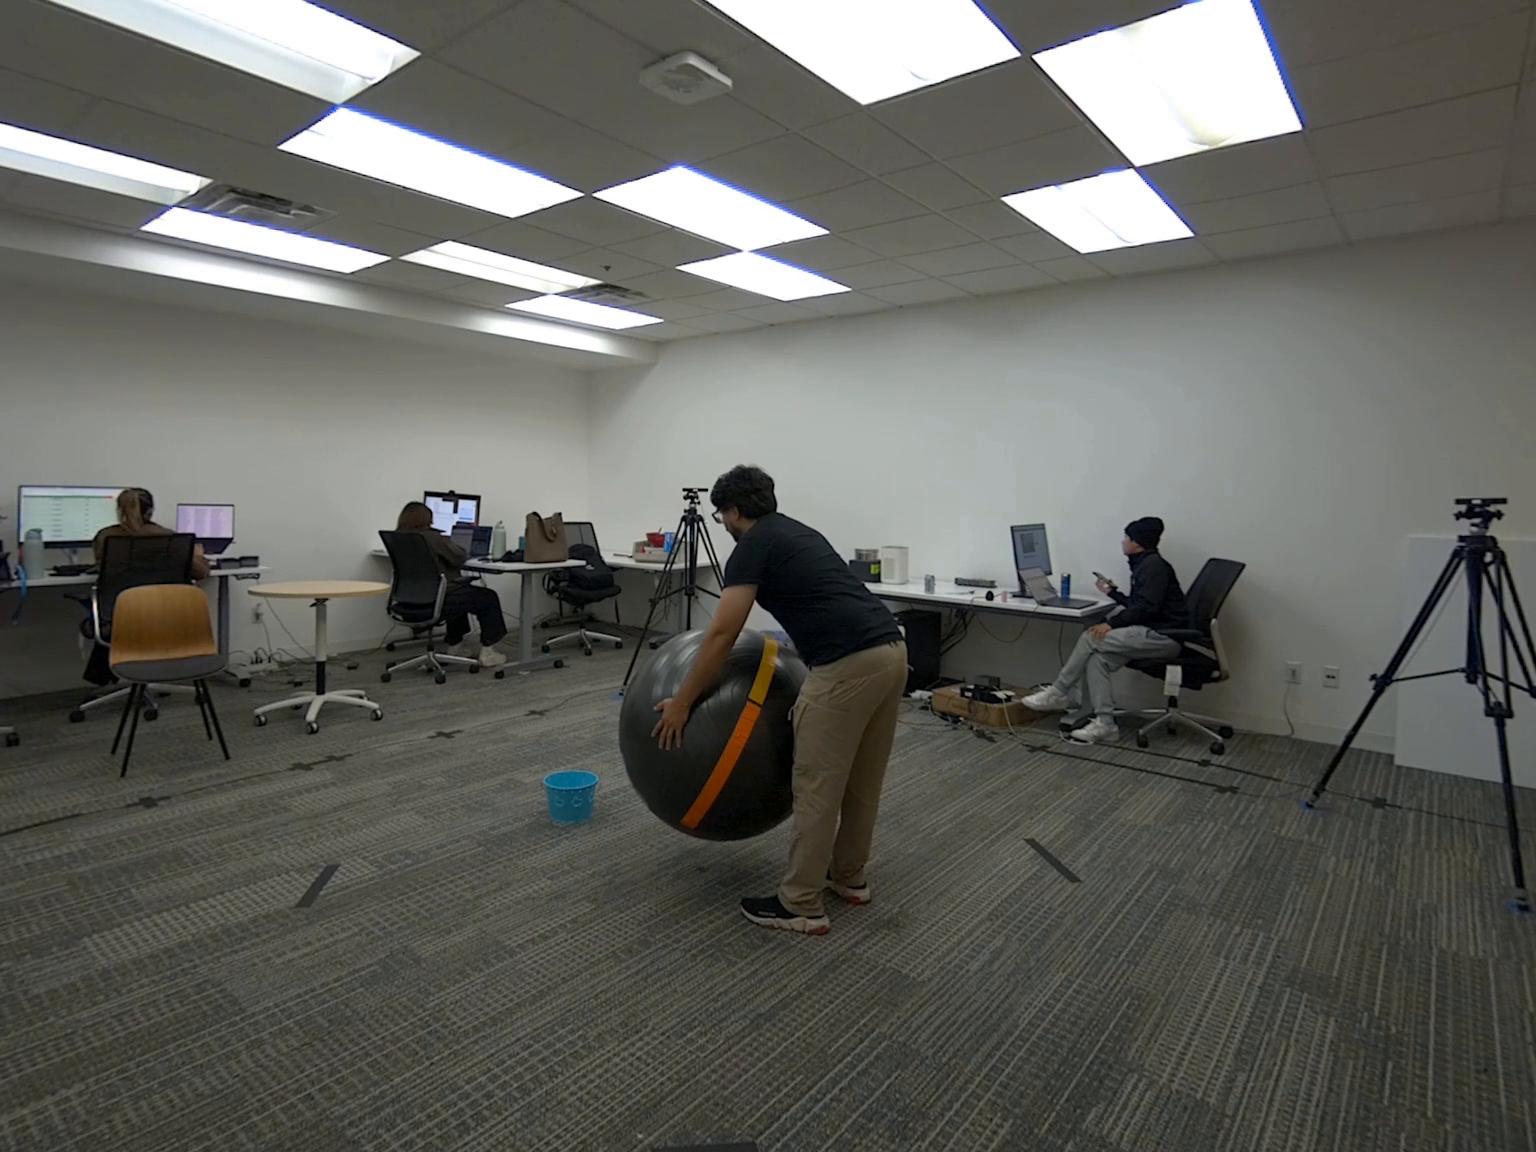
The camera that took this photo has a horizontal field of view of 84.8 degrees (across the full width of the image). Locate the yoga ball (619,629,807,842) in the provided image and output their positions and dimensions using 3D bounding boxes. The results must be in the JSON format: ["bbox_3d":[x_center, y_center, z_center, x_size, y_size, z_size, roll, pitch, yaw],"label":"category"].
[{"bbox_3d":[-0.174,0.561,3.091,0.757,0.756,0.762,1,4,-2],"label":"yoga ball"}]
